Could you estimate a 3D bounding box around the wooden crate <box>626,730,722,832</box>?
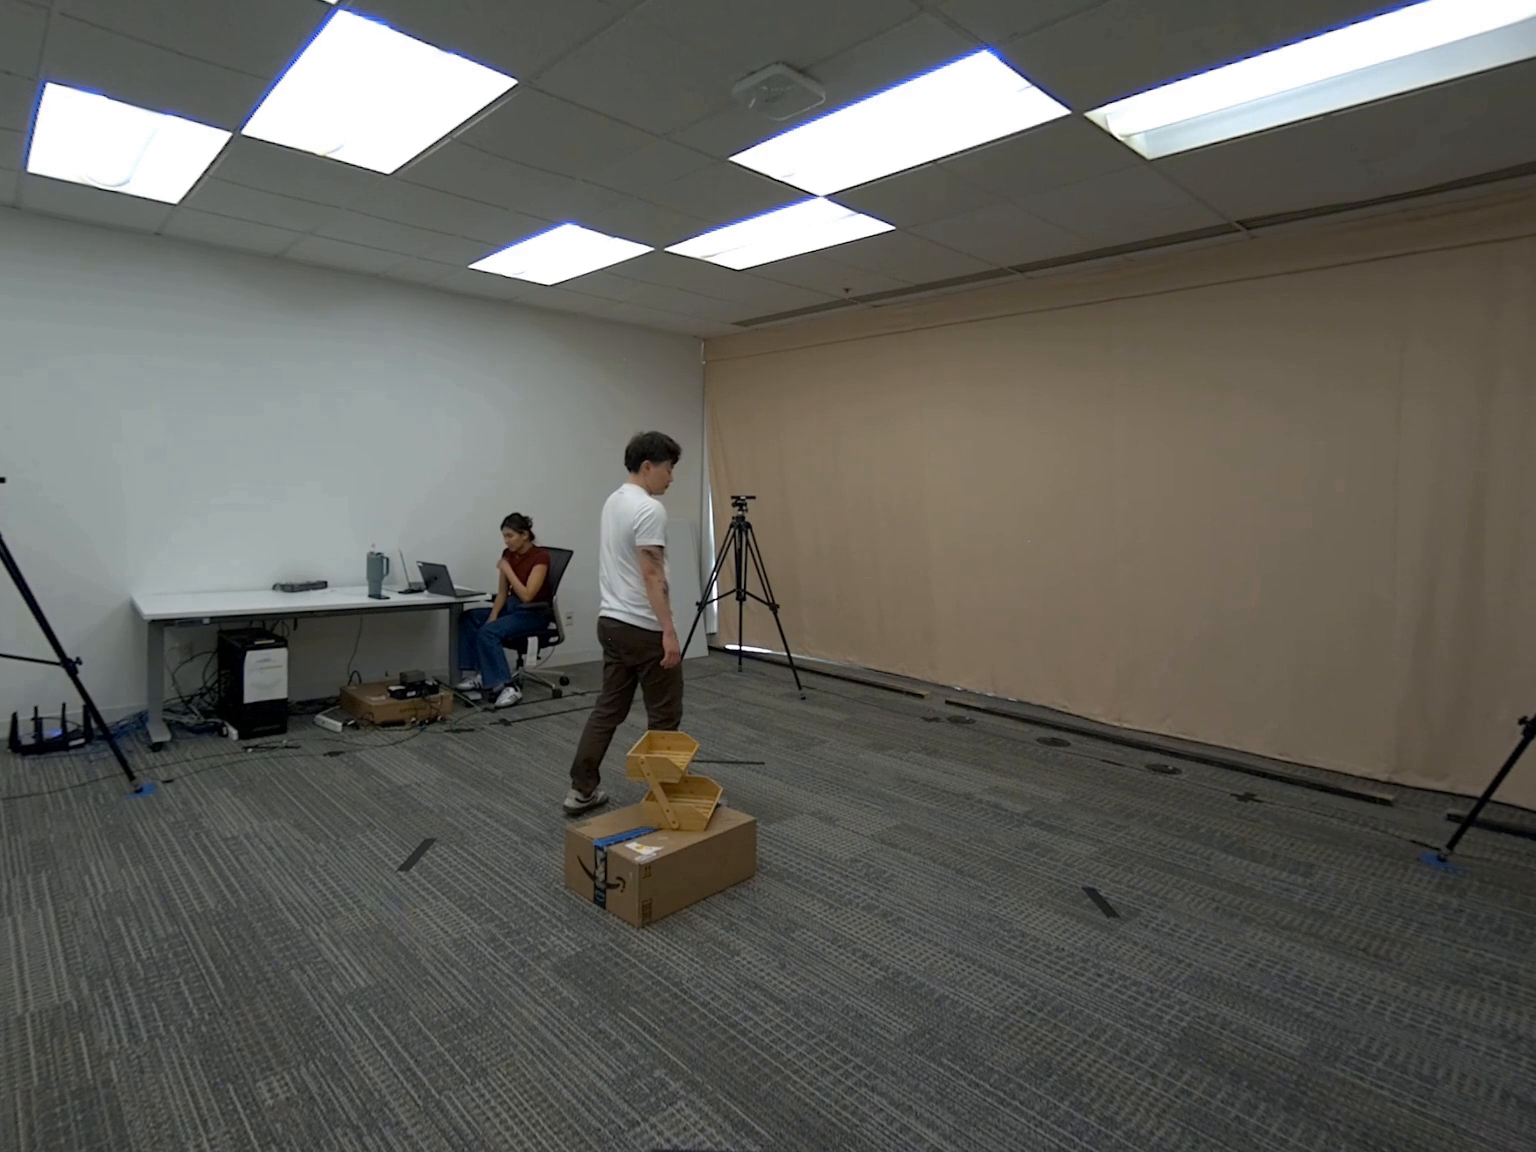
[{"bbox_3d":[-0.342,0.745,3.126,0.304,0.272,0.323,1,5,8],"label":"wooden crate"}]
